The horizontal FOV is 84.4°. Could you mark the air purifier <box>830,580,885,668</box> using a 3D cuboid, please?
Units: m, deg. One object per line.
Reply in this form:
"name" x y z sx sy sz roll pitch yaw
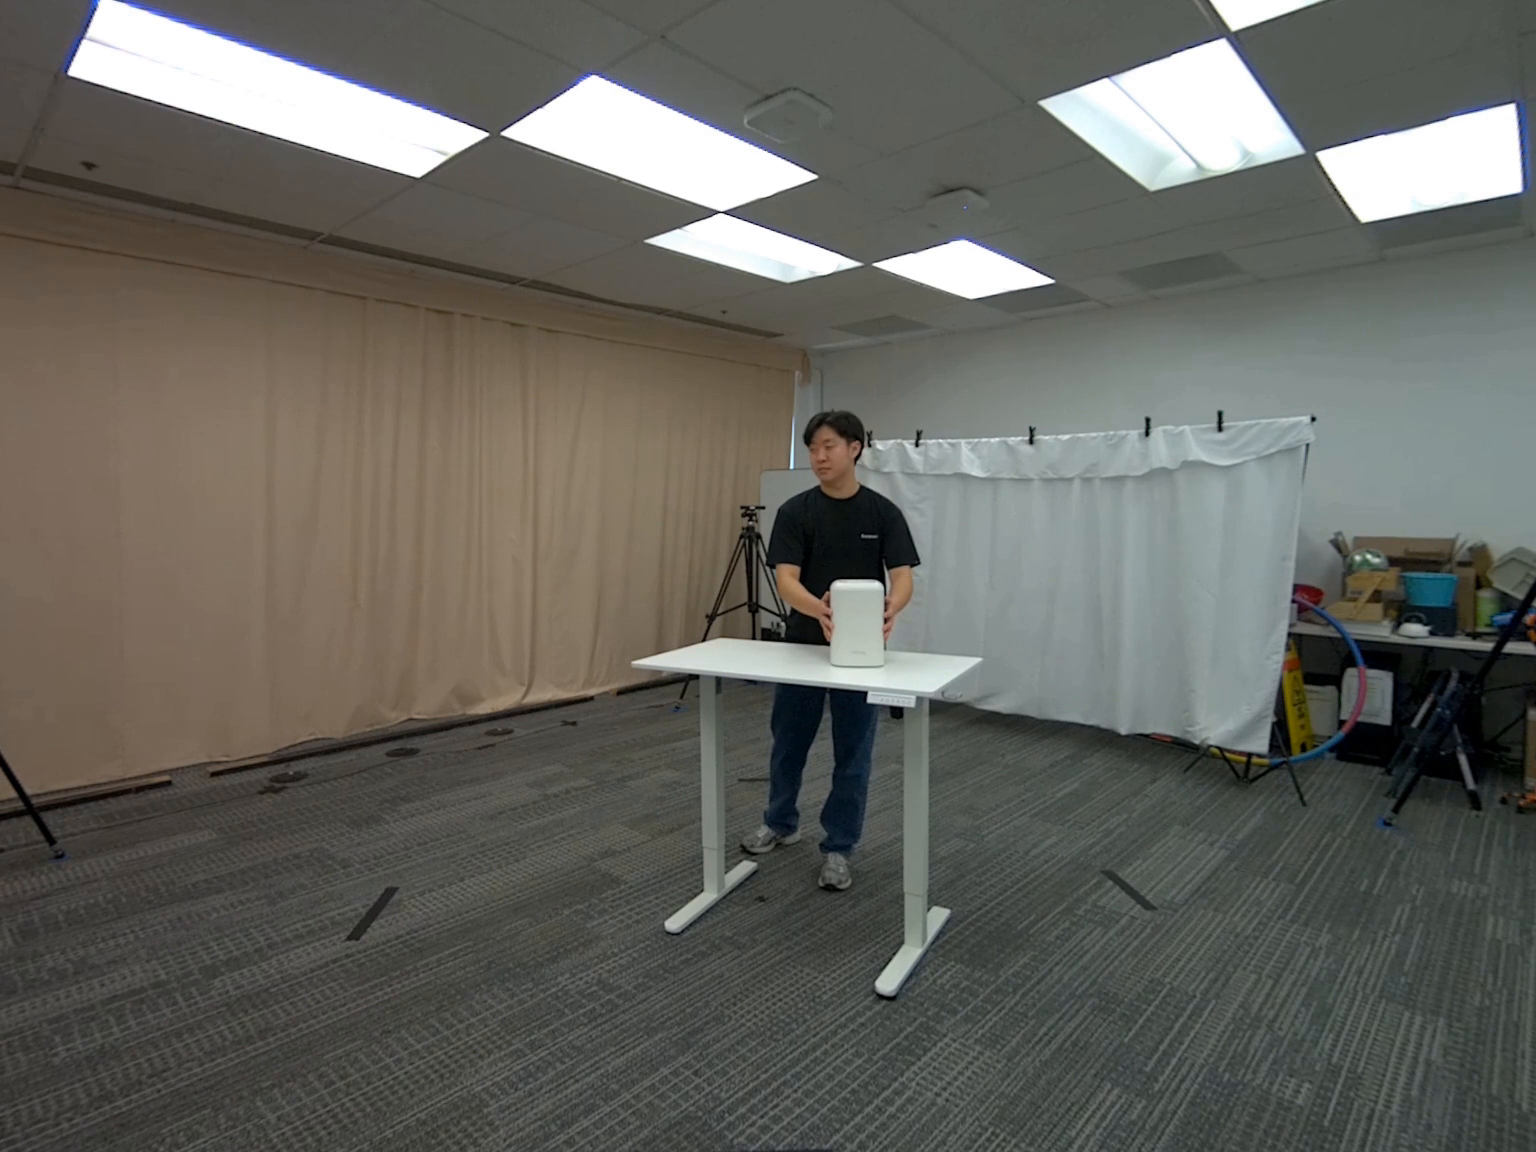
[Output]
"air purifier" 0.289 0.150 2.711 0.172 0.265 0.171 2 2 4
